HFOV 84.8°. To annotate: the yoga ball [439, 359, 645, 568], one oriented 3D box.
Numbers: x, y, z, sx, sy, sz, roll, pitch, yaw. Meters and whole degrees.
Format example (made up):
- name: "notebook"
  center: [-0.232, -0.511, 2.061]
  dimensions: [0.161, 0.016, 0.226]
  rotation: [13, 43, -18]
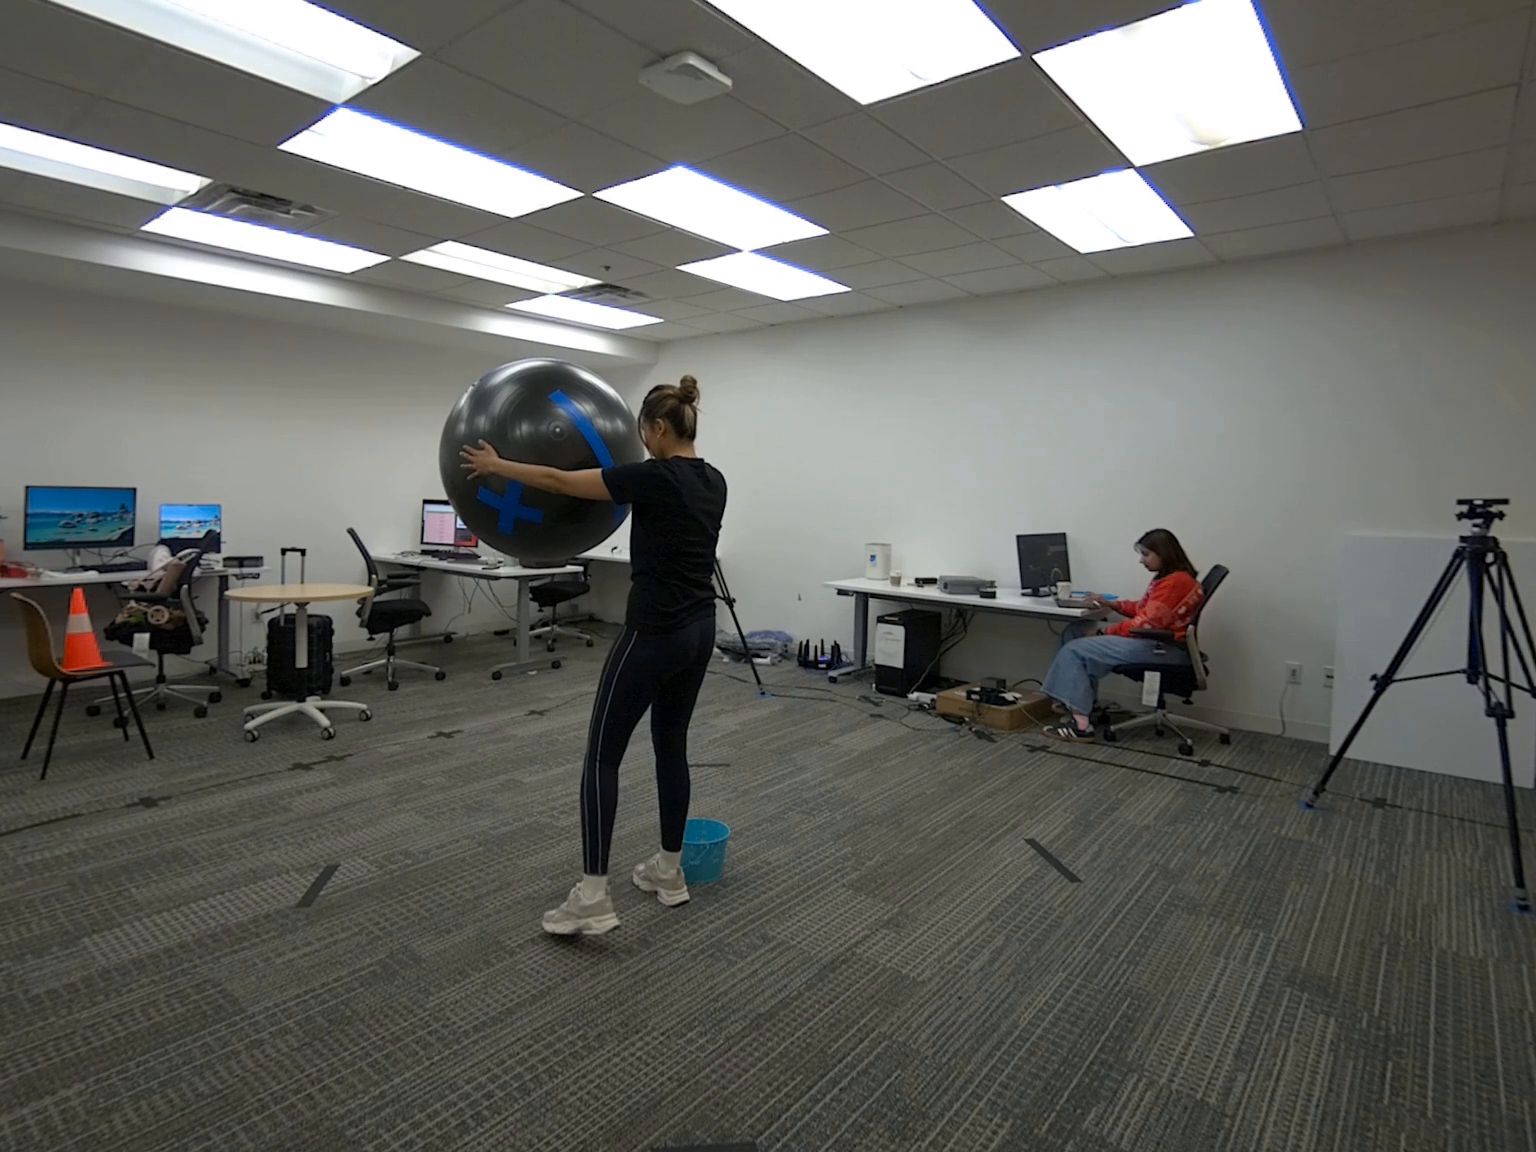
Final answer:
- name: "yoga ball"
  center: [-0.858, -0.425, 3.207]
  dimensions: [0.757, 0.756, 0.762]
  rotation: [1, 4, -2]
